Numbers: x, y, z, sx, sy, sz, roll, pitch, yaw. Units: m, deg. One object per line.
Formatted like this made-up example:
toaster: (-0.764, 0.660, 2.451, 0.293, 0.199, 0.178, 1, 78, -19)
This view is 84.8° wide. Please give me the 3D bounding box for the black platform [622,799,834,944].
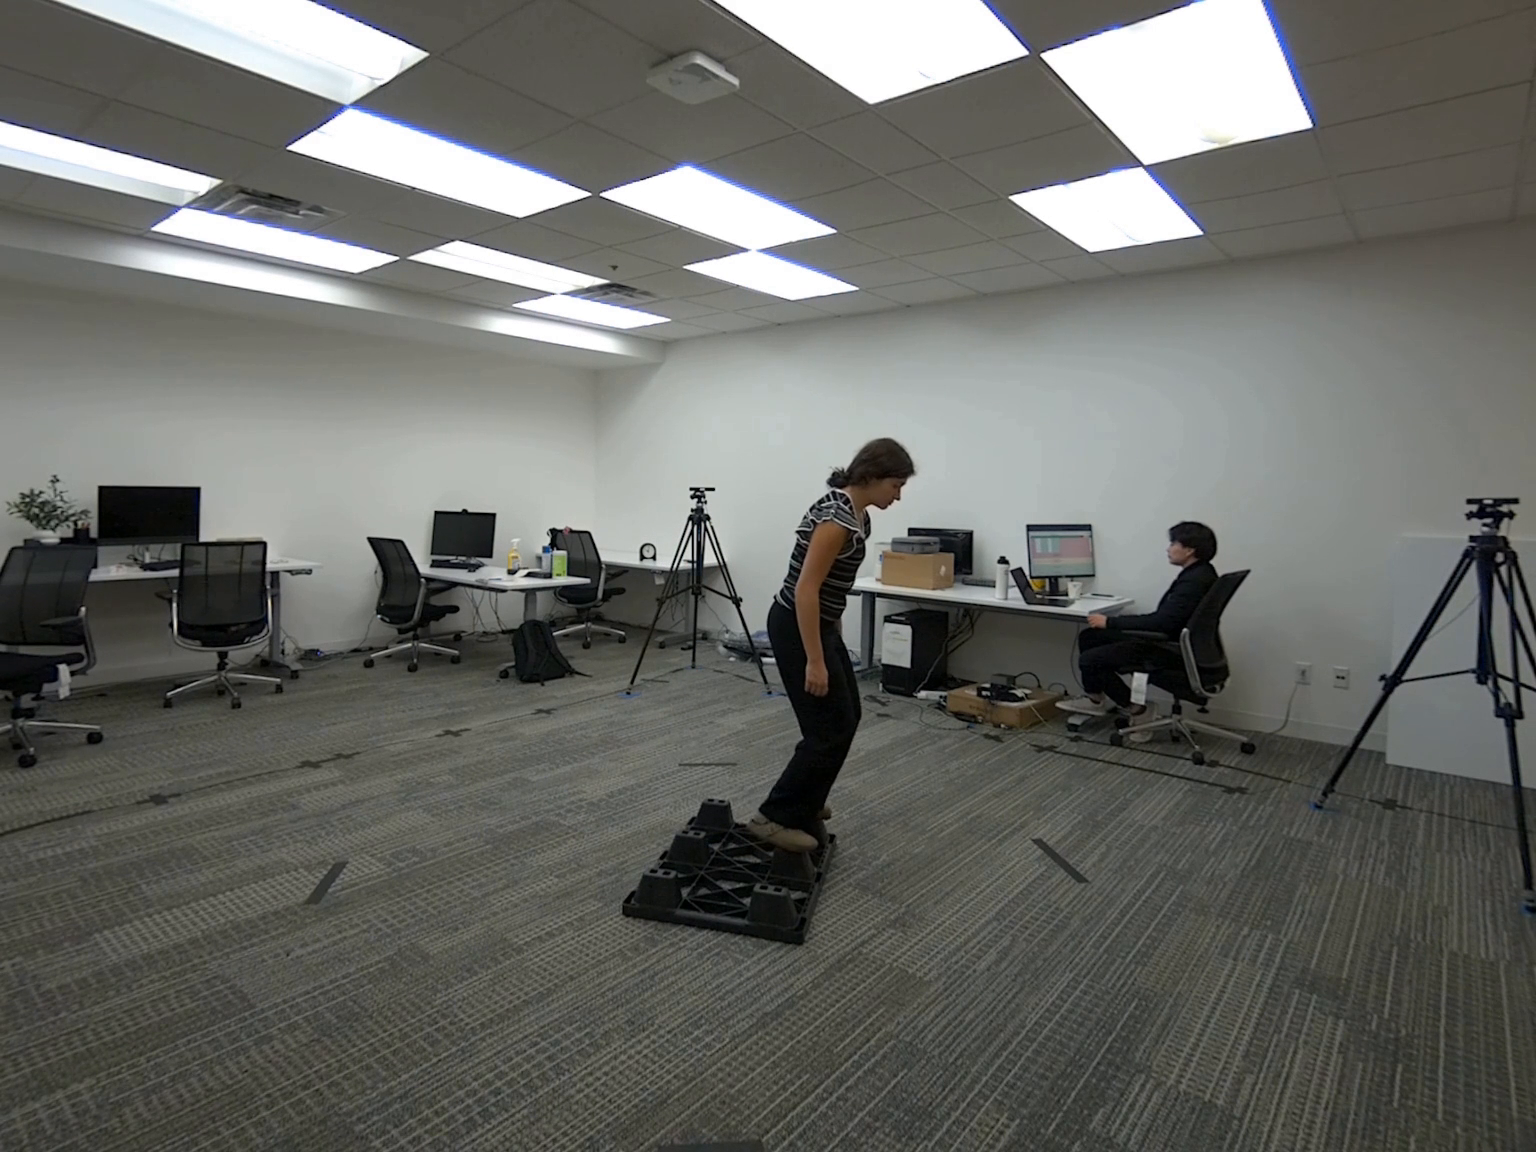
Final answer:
black platform: (-0.114, 1.008, 3.054, 0.615, 0.143, 0.796, 4, 5, 13)
